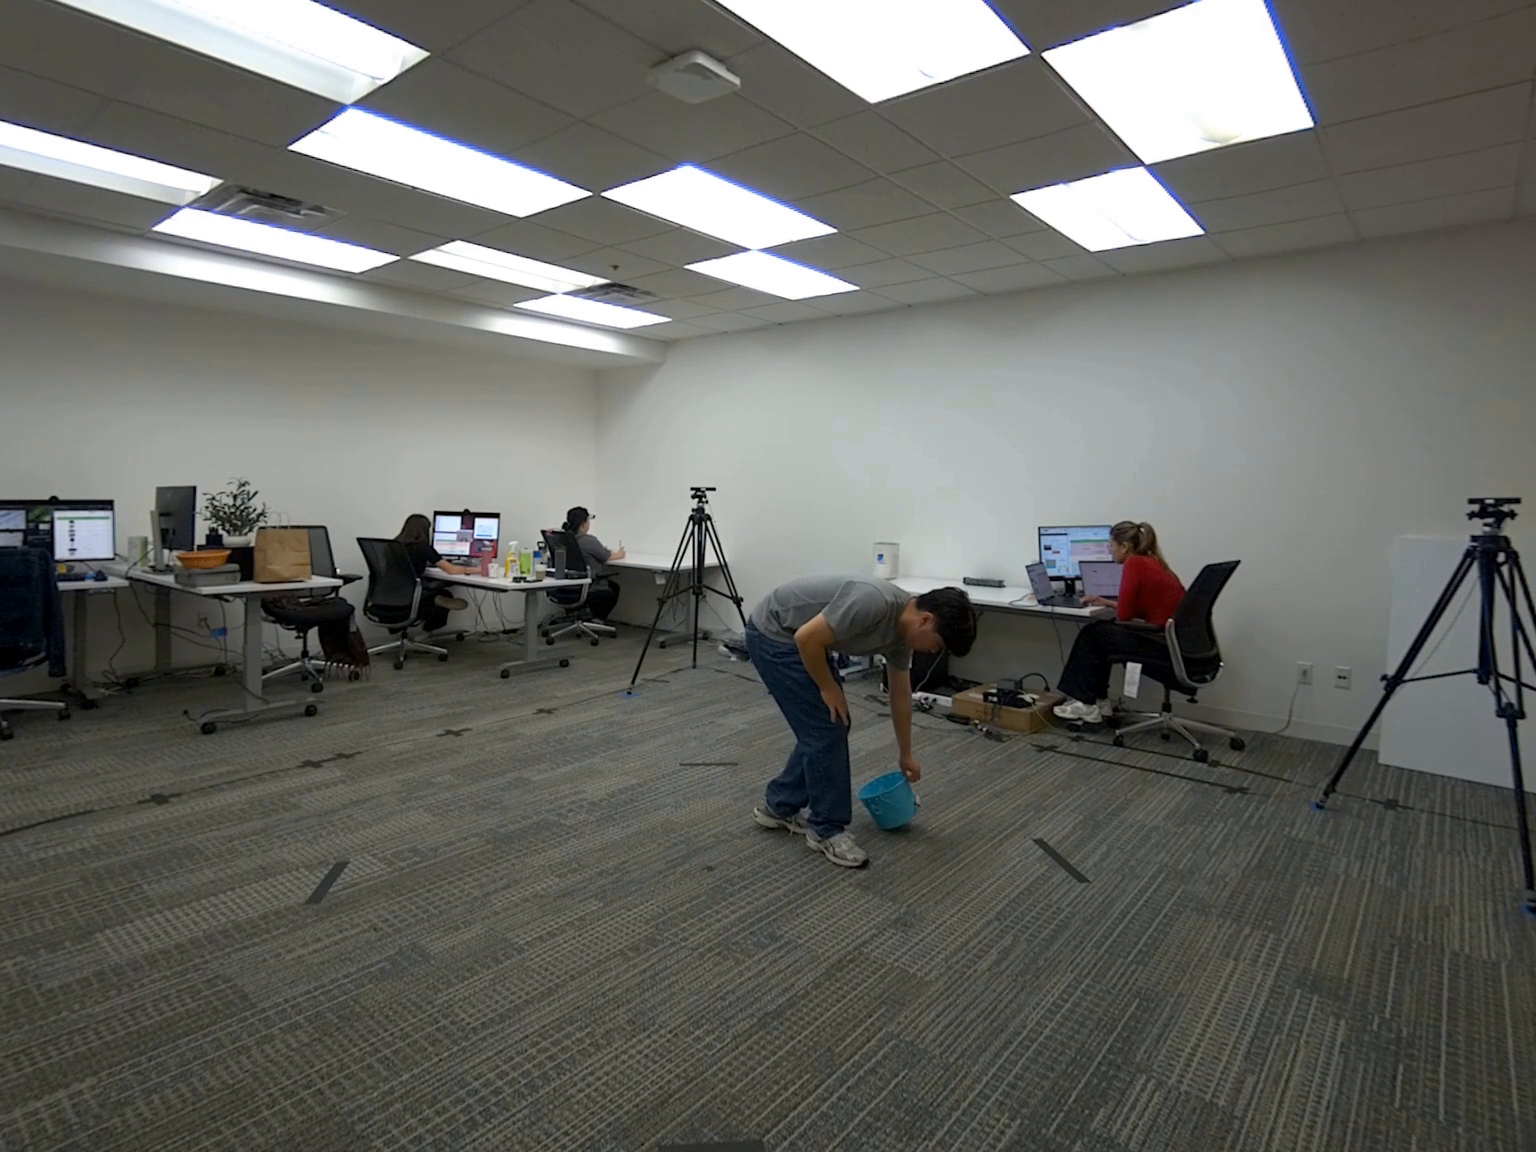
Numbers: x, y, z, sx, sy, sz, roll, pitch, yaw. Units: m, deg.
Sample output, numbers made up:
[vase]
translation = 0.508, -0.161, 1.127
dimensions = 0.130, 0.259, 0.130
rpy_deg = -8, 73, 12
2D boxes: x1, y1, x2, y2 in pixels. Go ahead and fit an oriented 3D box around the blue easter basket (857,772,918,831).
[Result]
[blue easter basket]
translation = 0.498, 0.933, 3.524
dimensions = 0.243, 0.156, 0.244
rpy_deg = -26, 1, -2
